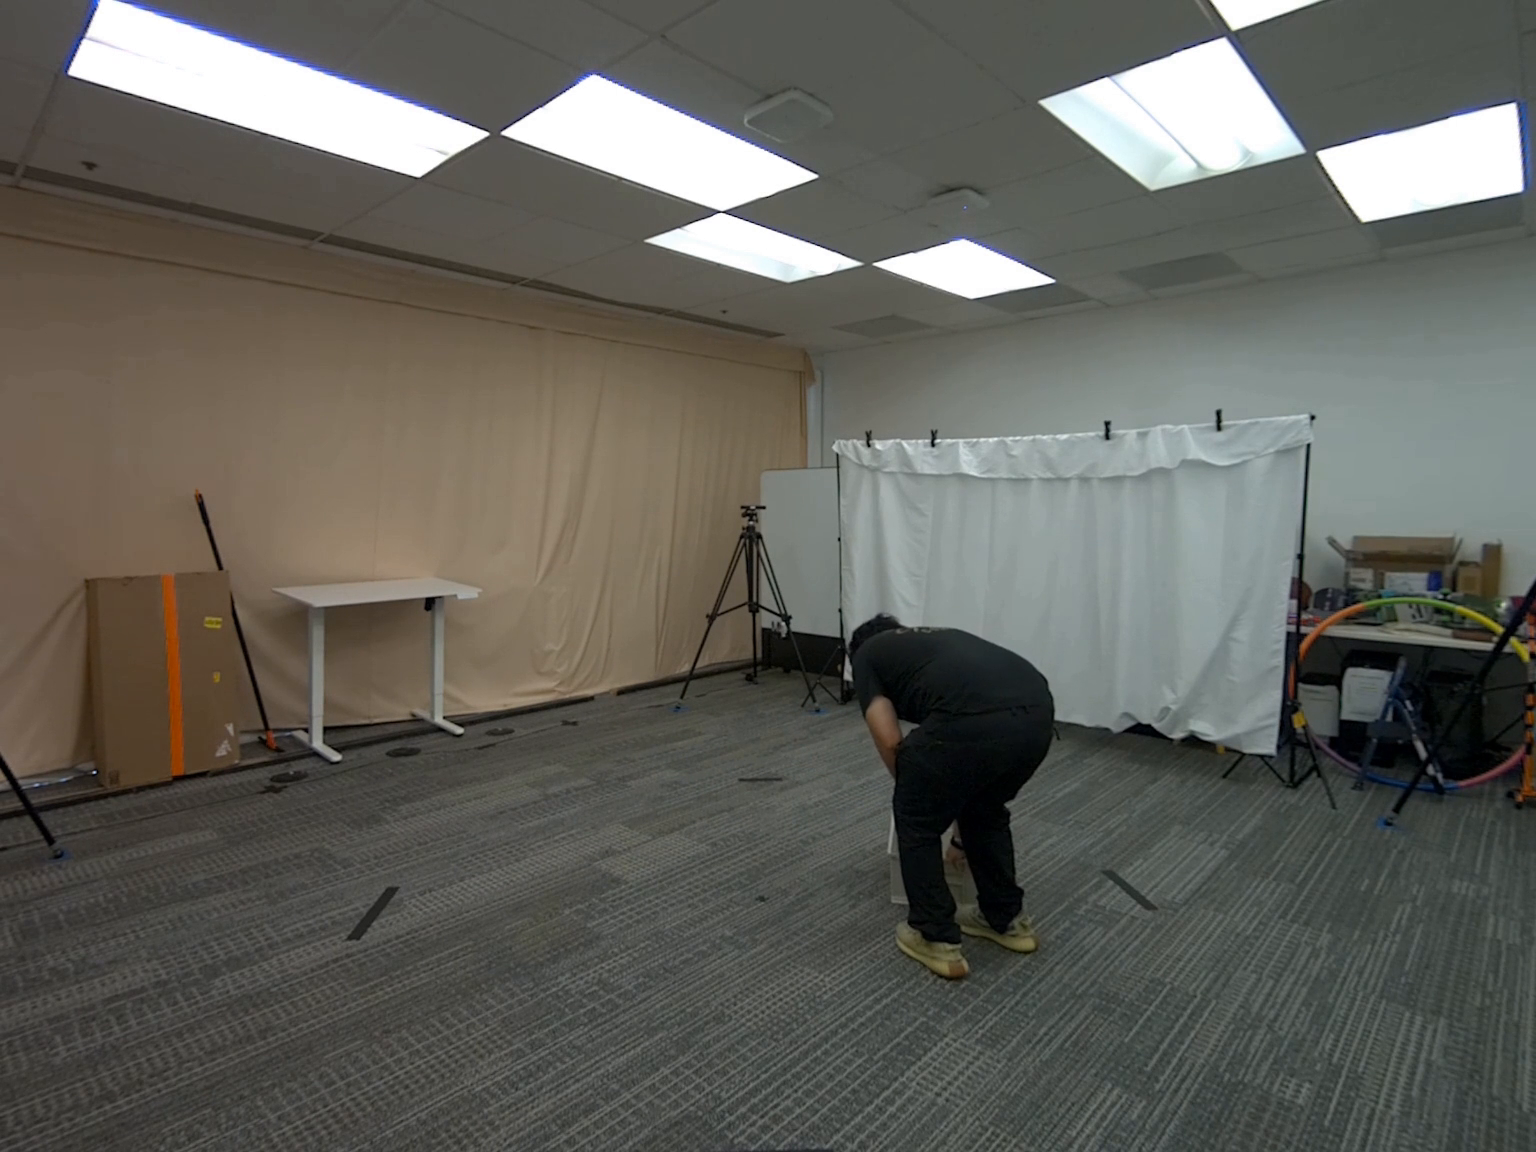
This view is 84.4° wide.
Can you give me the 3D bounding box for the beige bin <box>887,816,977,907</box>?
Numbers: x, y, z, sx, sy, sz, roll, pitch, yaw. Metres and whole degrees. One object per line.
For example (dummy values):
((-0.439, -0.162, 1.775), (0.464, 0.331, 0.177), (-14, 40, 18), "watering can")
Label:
((0.652, 1.038, 3.103), (0.383, 0.188, 0.418), (-1, 5, 12), "beige bin")
